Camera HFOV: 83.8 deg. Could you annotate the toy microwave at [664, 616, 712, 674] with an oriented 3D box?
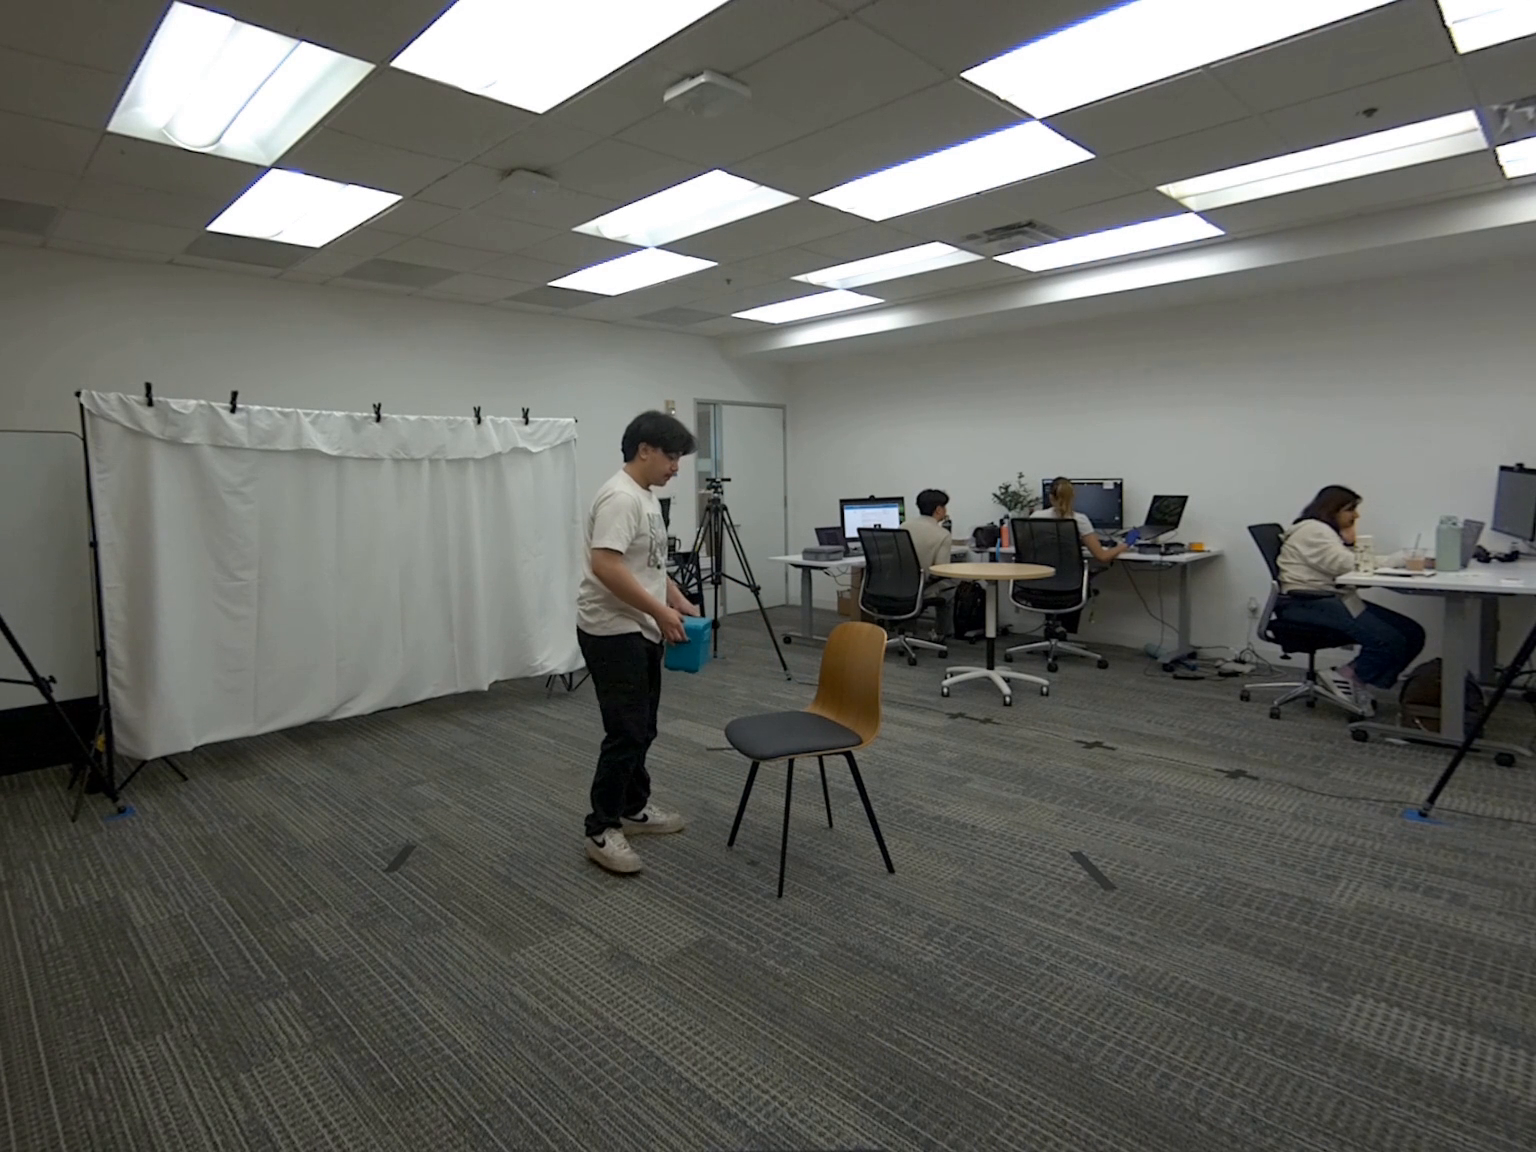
[{"bbox_3d":[-0.303,0.259,3.241,0.153,0.184,0.285,4,3,5],"label":"toy microwave"}]
